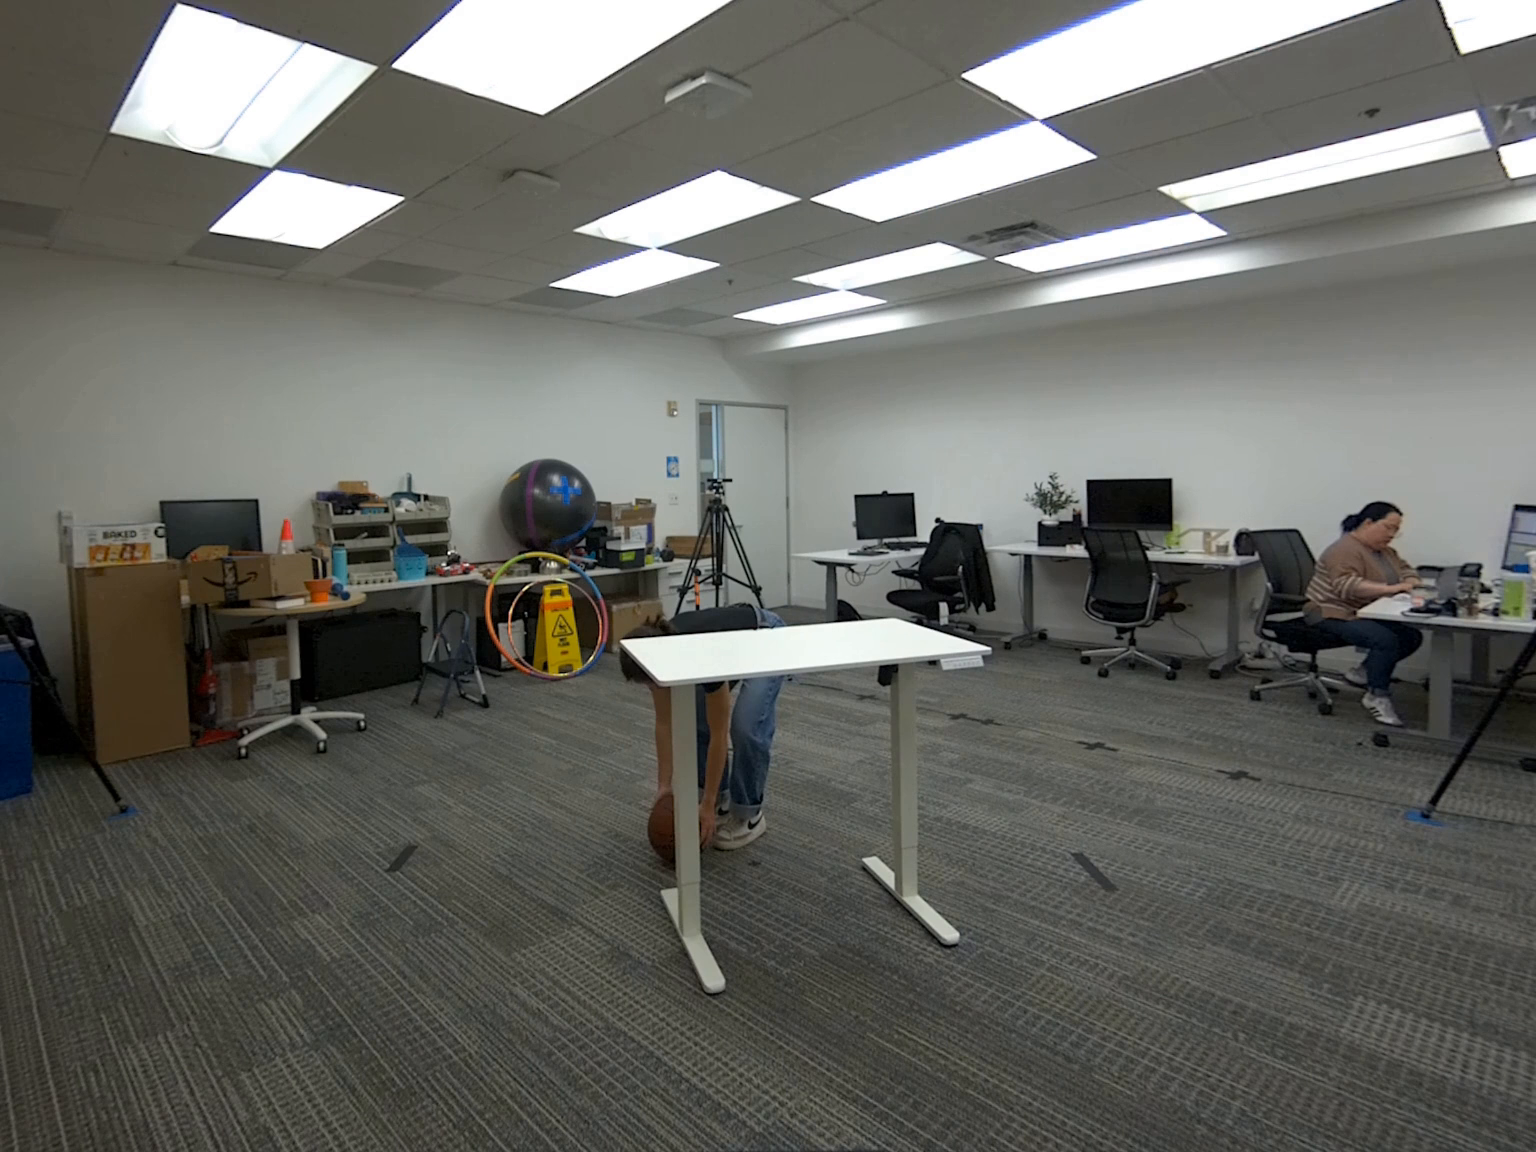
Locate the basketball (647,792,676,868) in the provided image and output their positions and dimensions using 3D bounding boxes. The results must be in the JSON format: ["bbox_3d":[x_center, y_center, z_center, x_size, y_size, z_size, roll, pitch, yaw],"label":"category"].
[{"bbox_3d":[-0.324,0.931,3.143,0.236,0.235,0.237,-1,5,-2],"label":"basketball"}]
